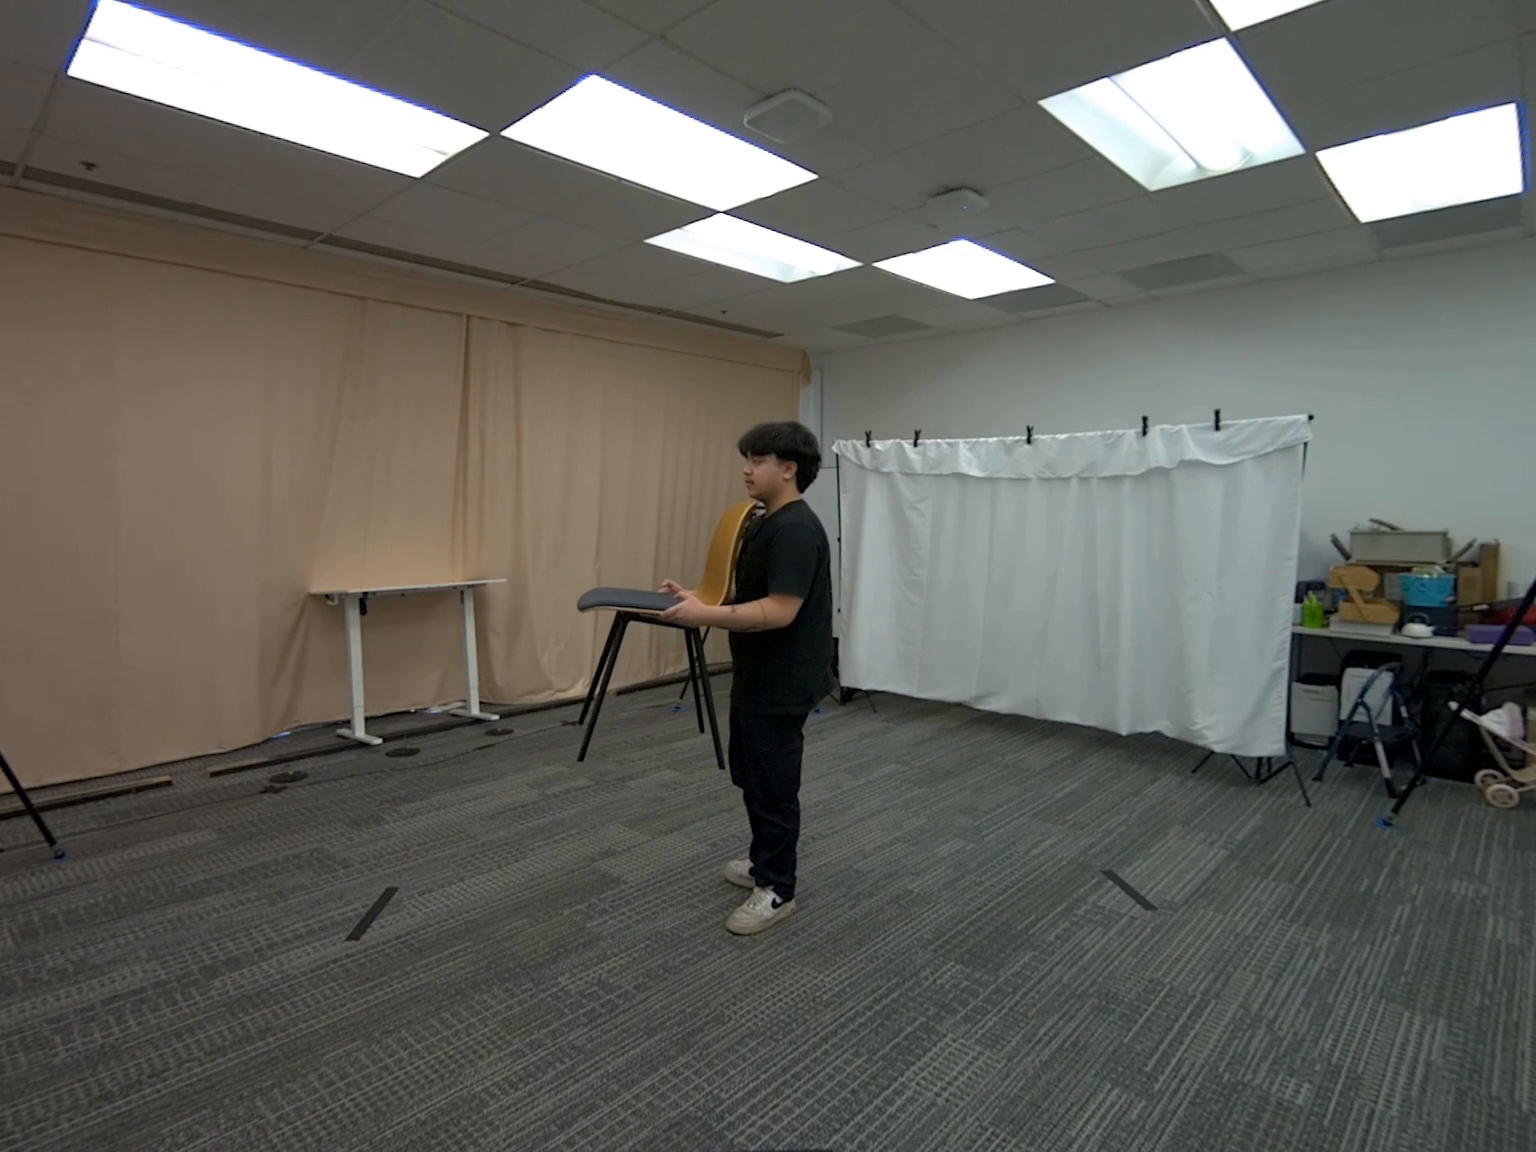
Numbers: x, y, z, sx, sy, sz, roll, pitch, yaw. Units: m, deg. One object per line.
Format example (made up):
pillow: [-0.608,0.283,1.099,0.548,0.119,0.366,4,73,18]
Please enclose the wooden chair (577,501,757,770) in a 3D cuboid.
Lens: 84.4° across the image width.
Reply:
wooden chair: [-0.357,0.146,2.761,0.516,0.877,0.485,10,2,-12]
